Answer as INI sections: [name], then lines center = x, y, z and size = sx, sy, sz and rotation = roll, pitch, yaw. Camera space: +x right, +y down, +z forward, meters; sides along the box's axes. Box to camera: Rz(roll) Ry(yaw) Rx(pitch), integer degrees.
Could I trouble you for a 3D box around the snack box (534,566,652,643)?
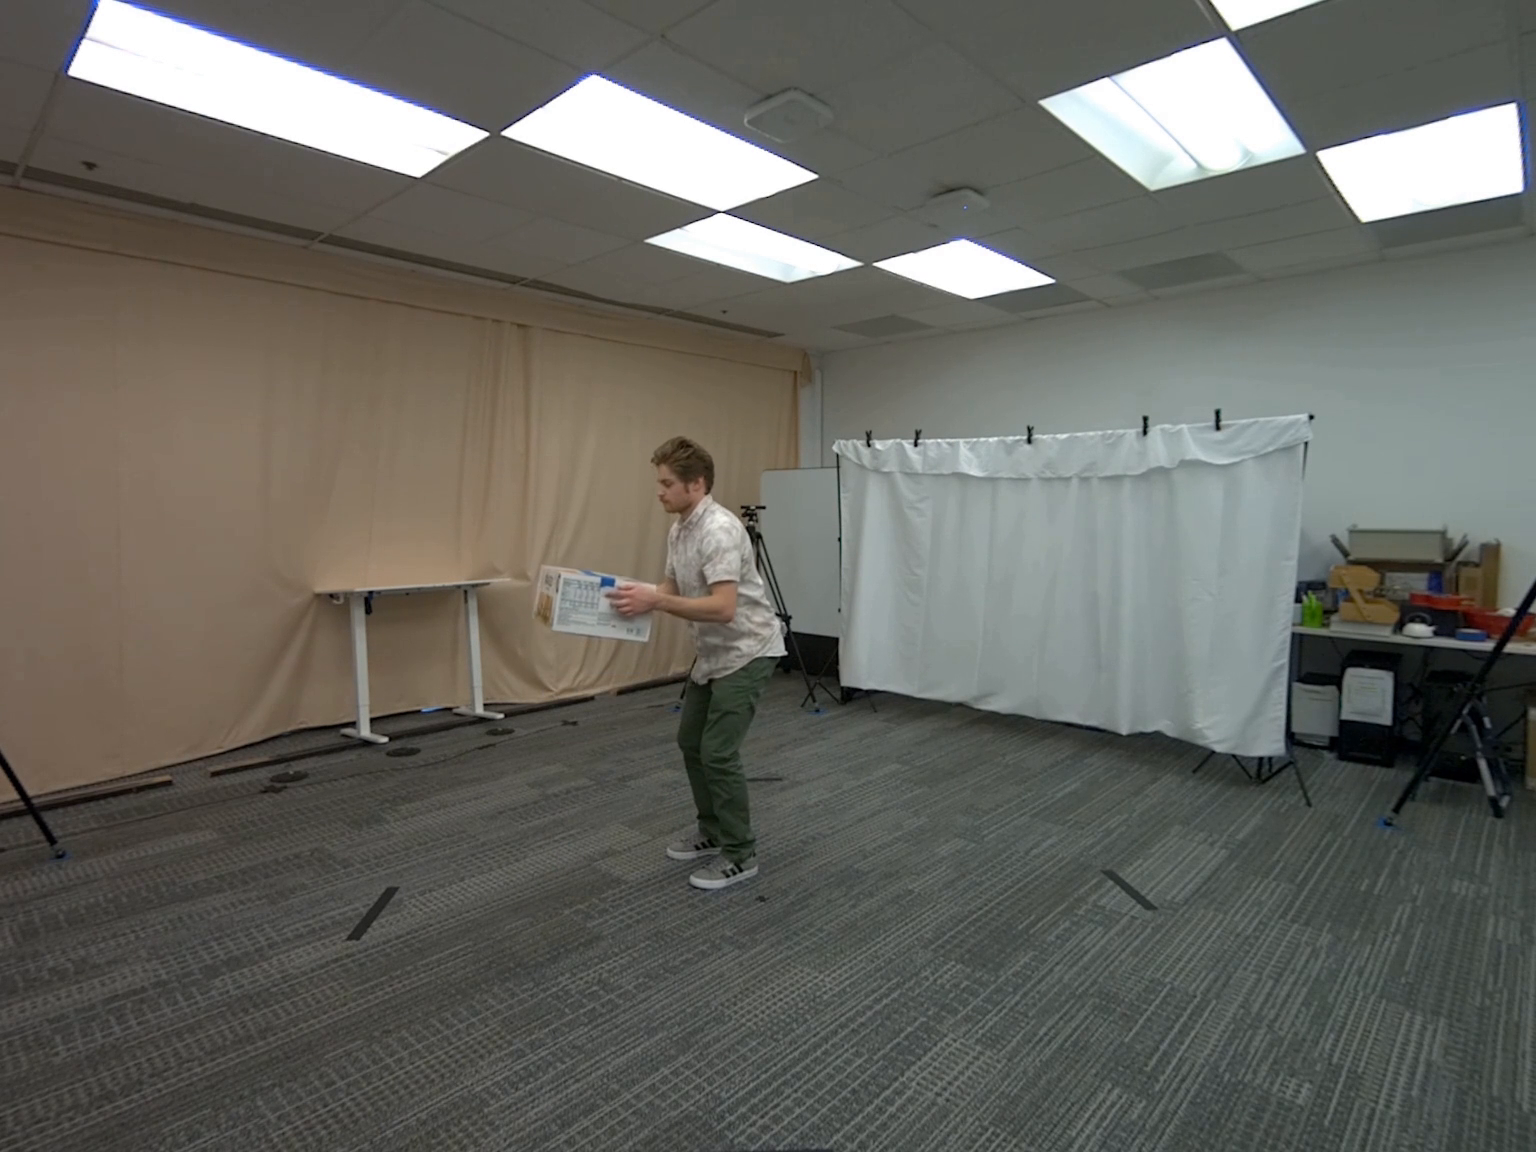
[snack box]
center = -0.632, 0.102, 3.050
size = 0.332, 0.206, 0.415
rotation = 8, 0, -24
